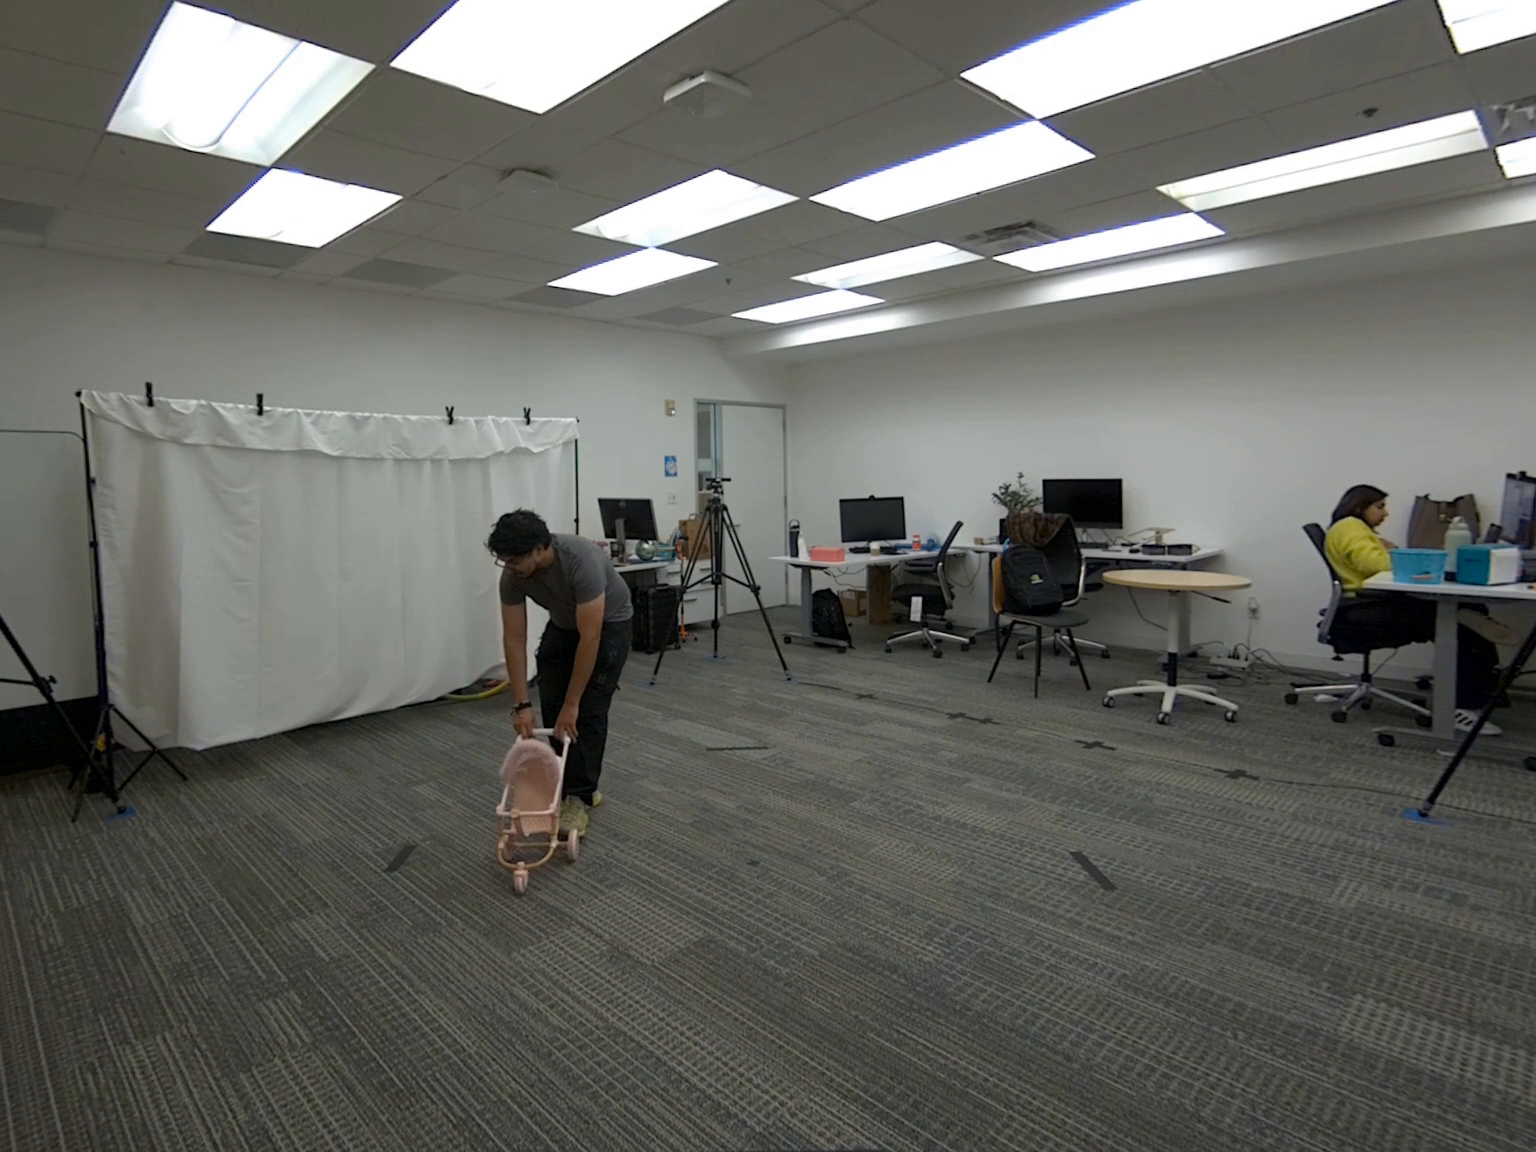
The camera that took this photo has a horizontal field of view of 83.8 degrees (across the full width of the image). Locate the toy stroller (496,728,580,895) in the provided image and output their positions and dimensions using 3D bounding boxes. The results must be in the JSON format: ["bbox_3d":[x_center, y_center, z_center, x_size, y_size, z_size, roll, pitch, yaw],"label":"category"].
[{"bbox_3d":[-0.853,0.837,3.083,0.283,0.540,0.336,-2,-10,5],"label":"toy stroller"}]
